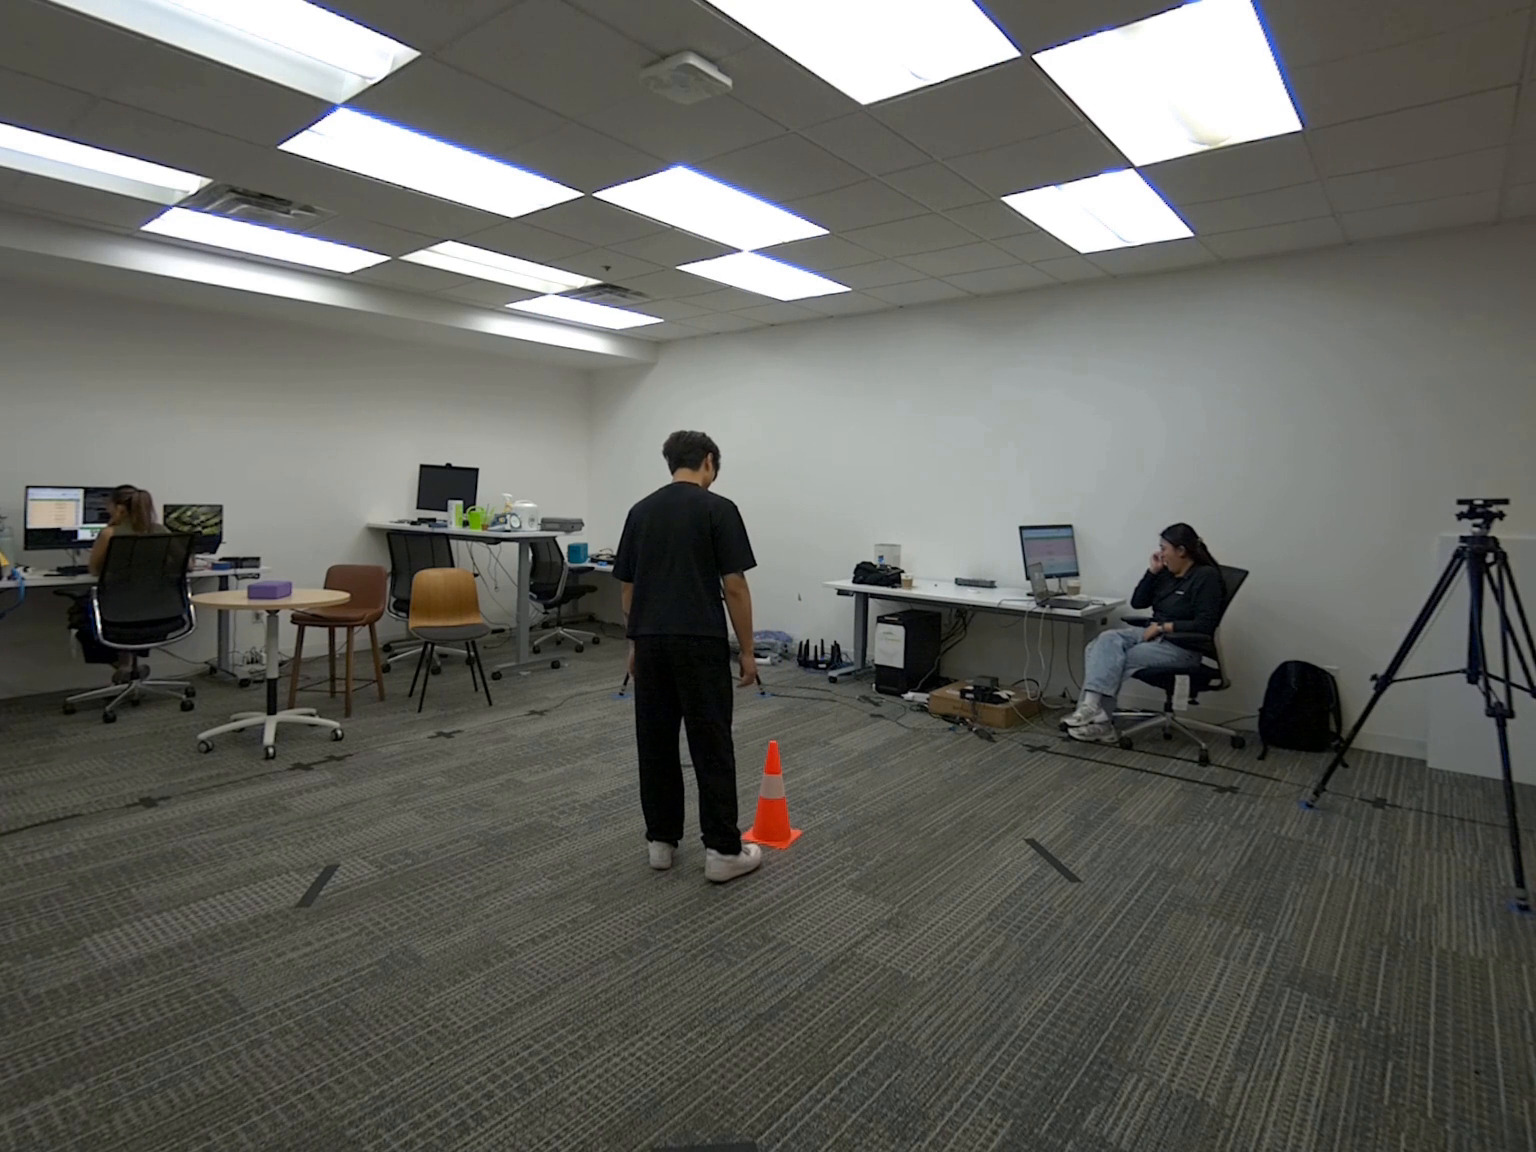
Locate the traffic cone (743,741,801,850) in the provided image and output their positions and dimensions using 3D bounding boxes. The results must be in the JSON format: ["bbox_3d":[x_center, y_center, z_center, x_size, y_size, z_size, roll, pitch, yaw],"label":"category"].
[{"bbox_3d":[0.013,0.858,3.430,0.209,0.383,0.199,4,4,30],"label":"traffic cone"}]
